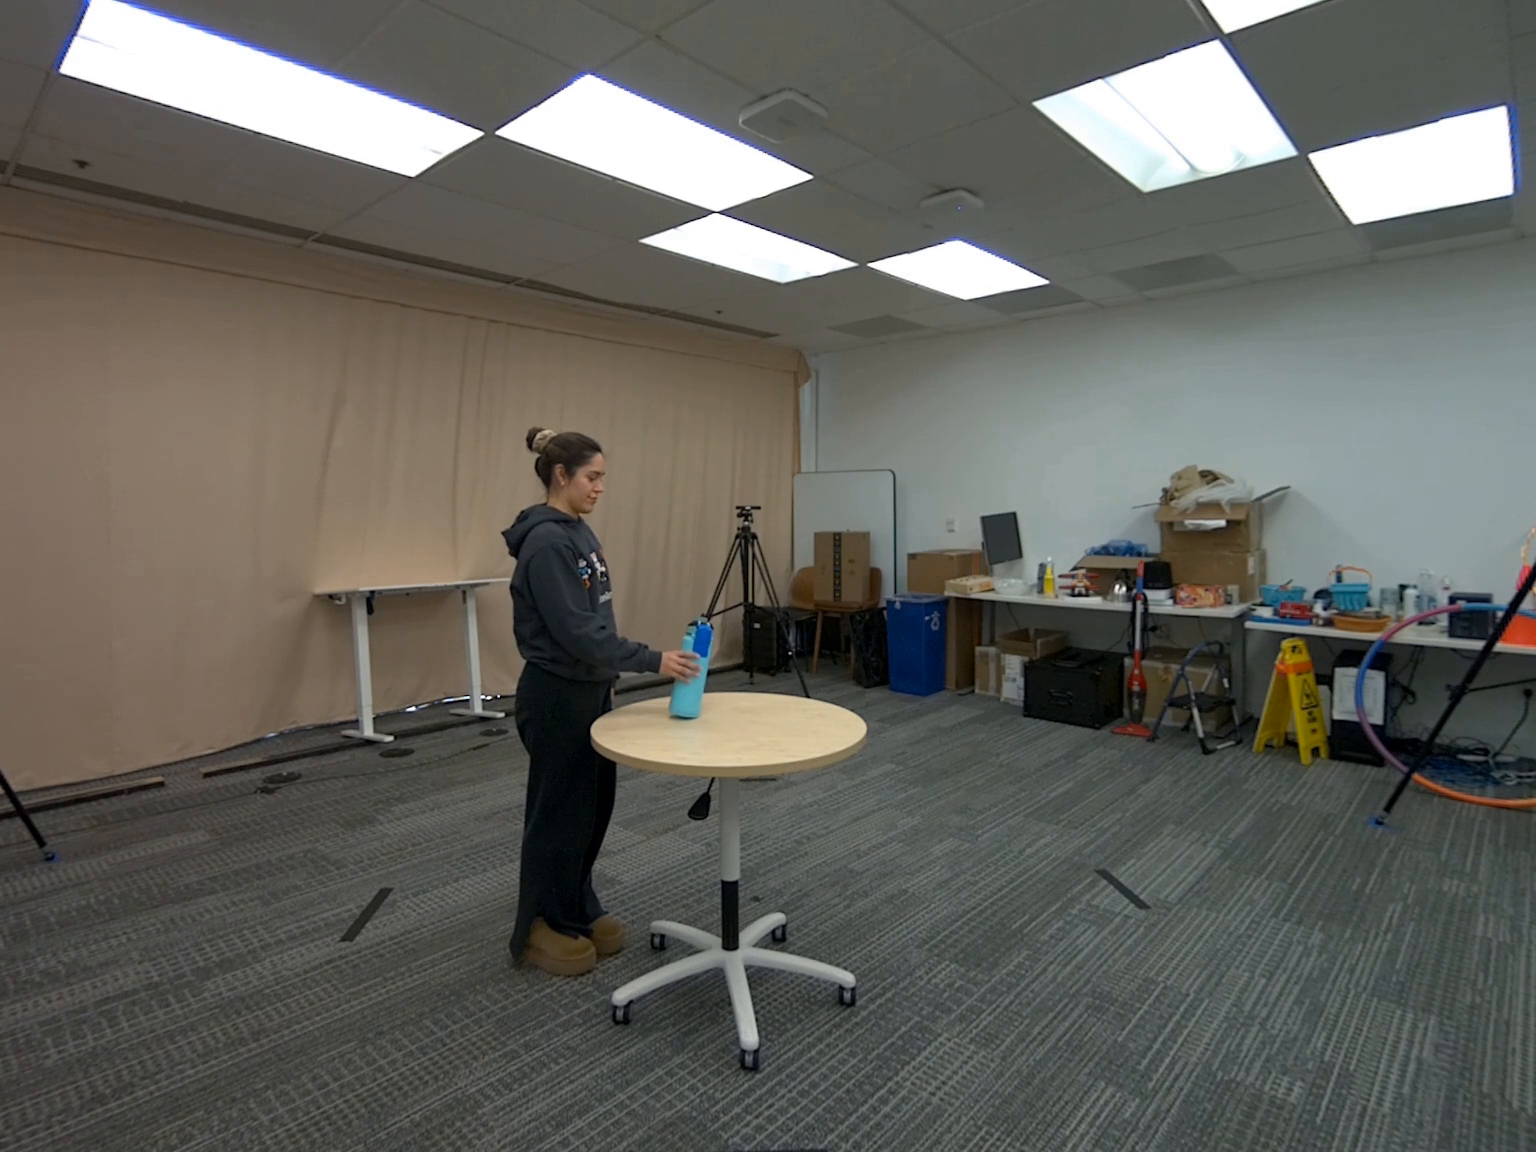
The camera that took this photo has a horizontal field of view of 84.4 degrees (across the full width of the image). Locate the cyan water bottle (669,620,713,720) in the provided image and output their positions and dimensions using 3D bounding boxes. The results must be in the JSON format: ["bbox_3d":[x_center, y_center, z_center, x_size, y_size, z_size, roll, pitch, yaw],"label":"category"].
[{"bbox_3d":[-0.212,0.268,2.430,0.092,0.283,0.092,11,0,-2],"label":"cyan water bottle"}]
